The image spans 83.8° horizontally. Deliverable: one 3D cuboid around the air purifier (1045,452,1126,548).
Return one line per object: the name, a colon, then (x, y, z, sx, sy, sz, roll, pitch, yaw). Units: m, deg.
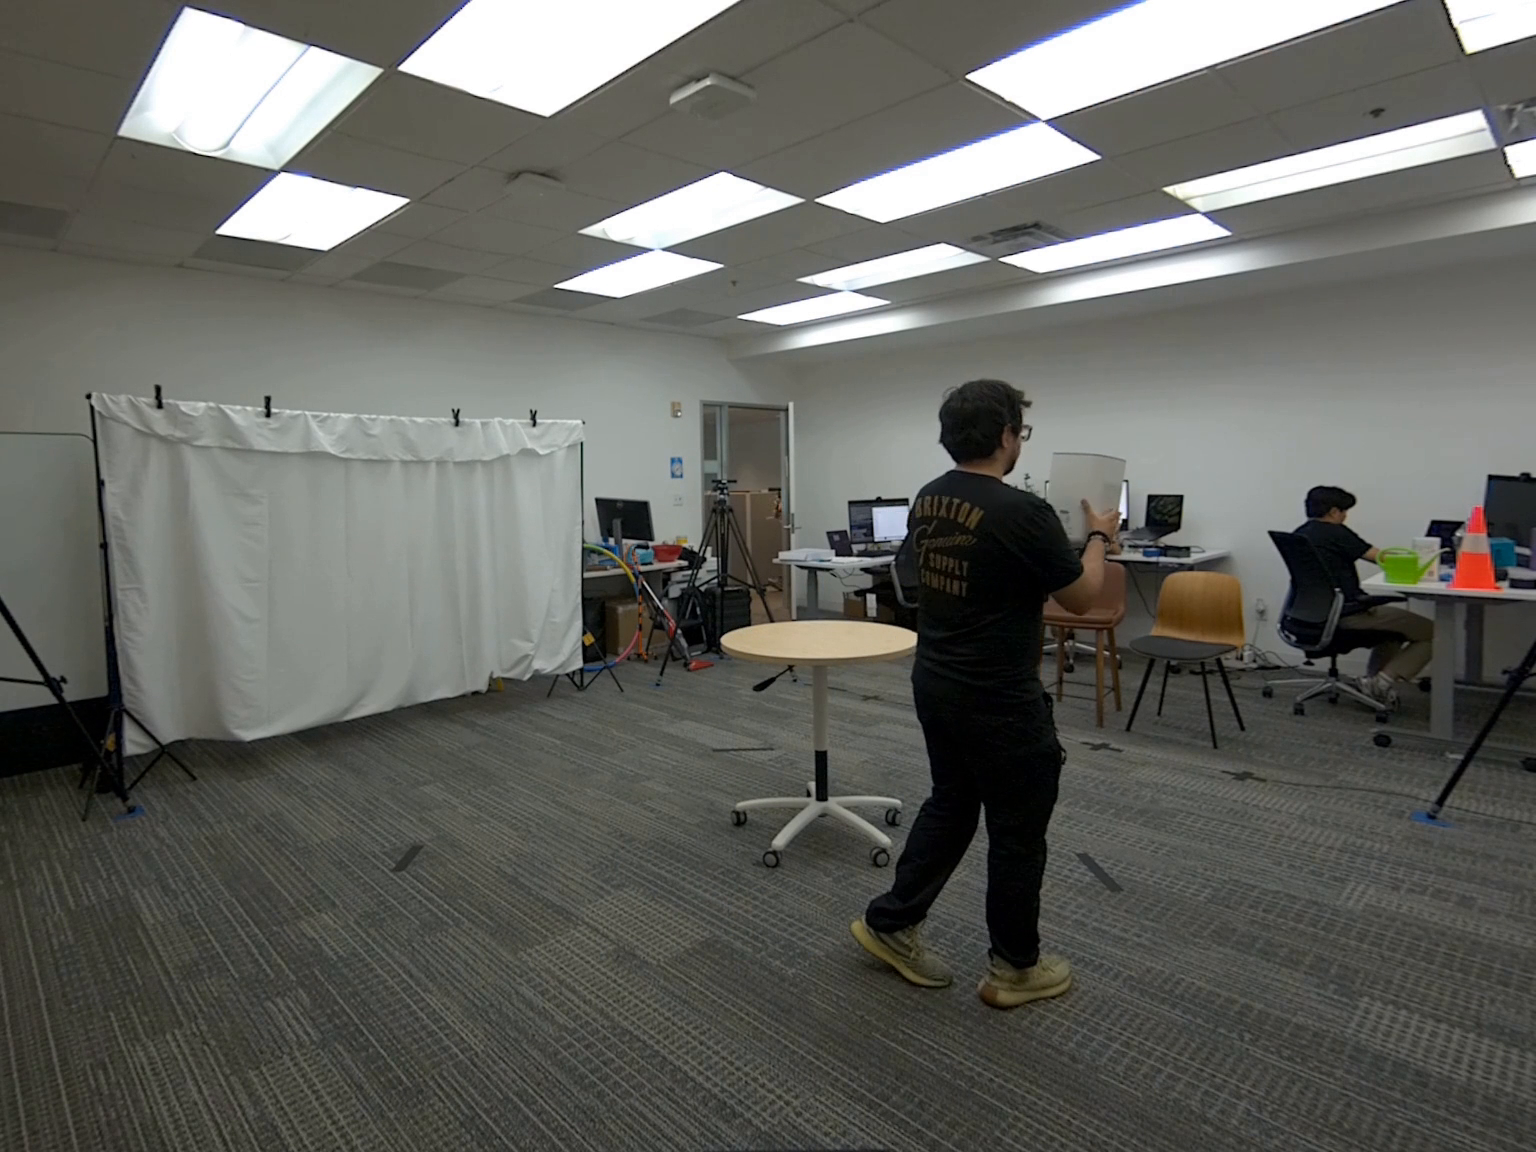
air purifier: (0.915, -0.212, 2.451, 0.166, 0.265, 0.176, 6, 2, -38)
